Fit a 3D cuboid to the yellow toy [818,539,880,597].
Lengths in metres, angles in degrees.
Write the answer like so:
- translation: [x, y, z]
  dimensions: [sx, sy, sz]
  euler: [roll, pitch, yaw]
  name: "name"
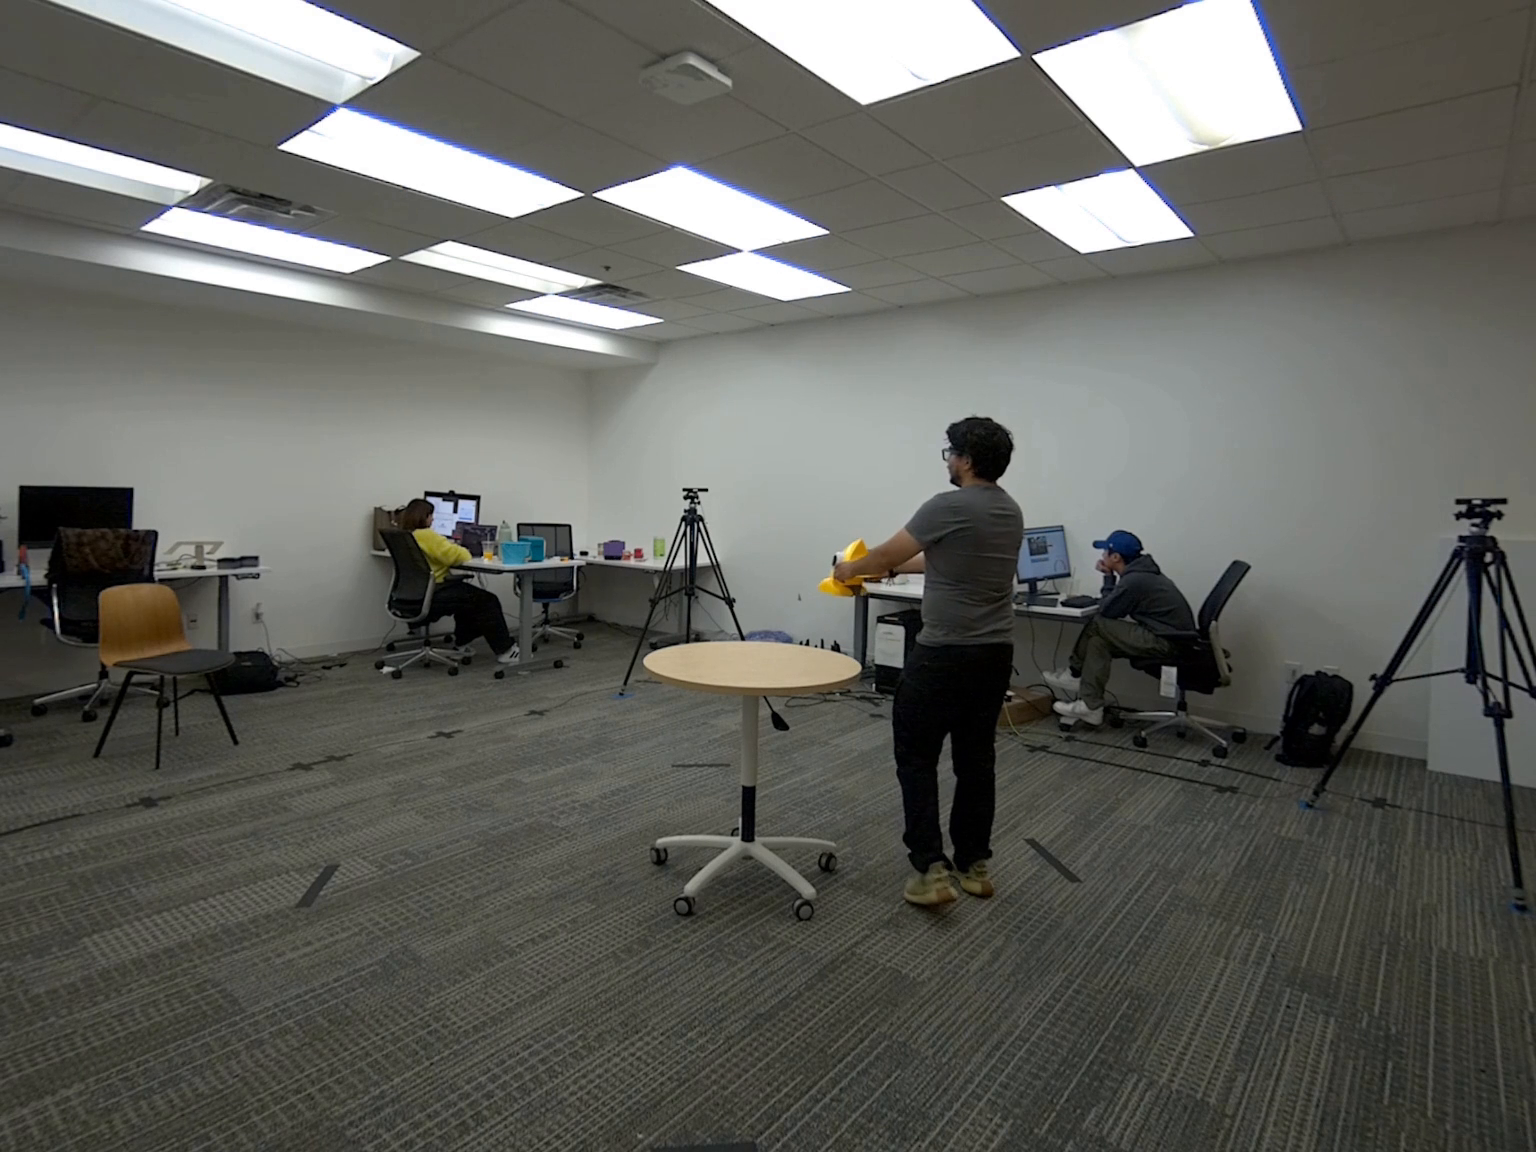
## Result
- translation: [0.318, -0.050, 3.471]
  dimensions: [0.198, 0.229, 0.200]
  euler: [0, 9, -41]
  name: "yellow toy"
